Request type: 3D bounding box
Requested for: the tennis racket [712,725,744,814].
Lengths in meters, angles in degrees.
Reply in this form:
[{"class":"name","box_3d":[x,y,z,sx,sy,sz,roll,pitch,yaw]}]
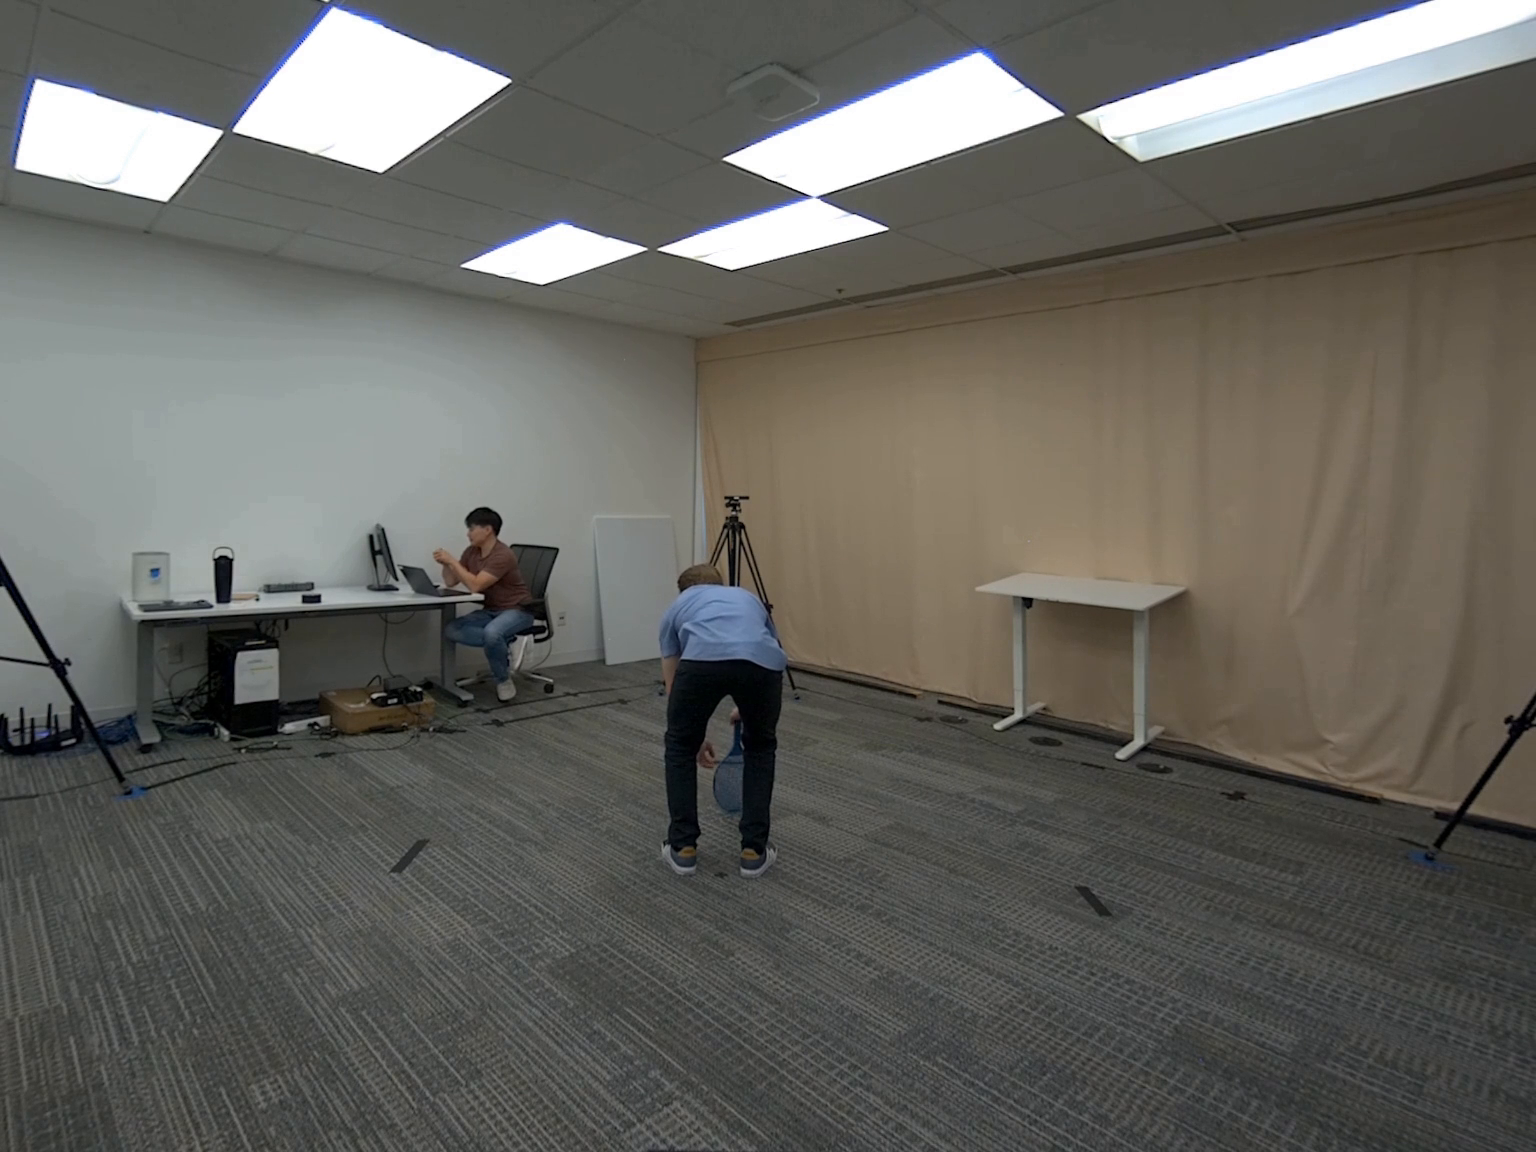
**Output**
[{"class":"tennis racket","box_3d":[-0.146,0.833,3.716,0.210,0.432,0.032,2,4,-22]}]
